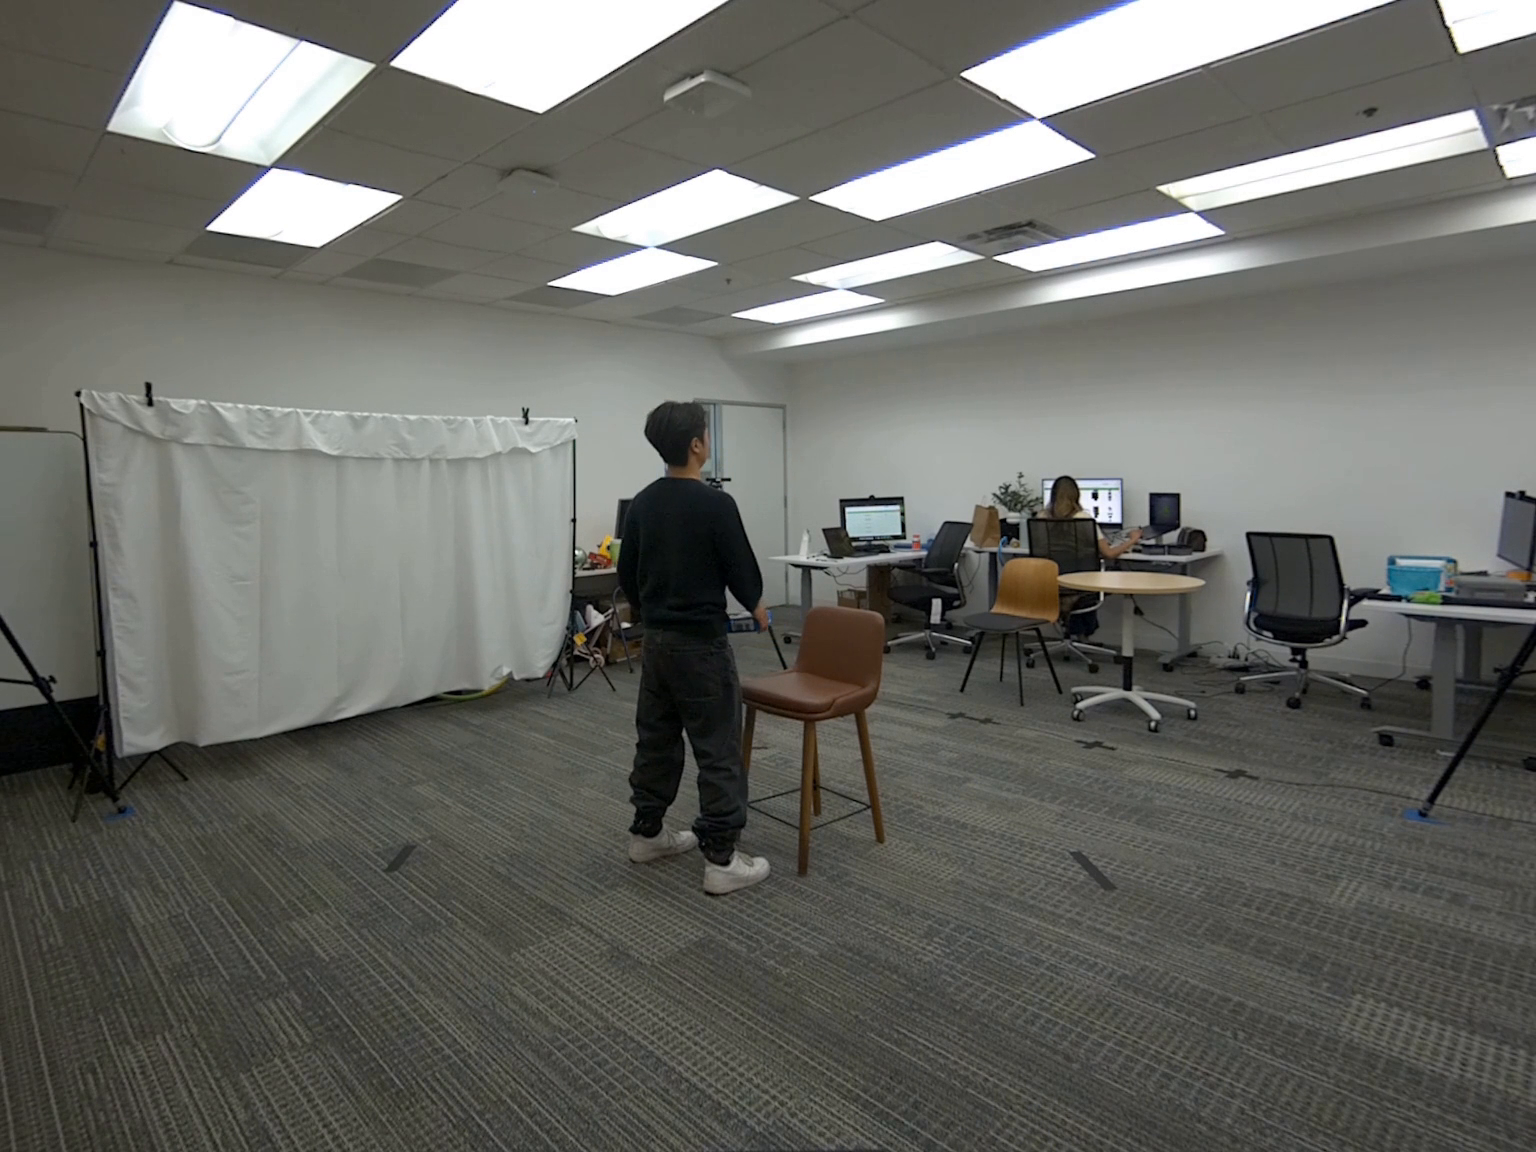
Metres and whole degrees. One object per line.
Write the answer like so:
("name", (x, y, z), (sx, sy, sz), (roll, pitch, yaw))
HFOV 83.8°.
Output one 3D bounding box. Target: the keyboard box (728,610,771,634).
("keyboard box", (-0.228, 0.187, 3.366), (0.445, 0.059, 0.173), (-5, 3, 21))
